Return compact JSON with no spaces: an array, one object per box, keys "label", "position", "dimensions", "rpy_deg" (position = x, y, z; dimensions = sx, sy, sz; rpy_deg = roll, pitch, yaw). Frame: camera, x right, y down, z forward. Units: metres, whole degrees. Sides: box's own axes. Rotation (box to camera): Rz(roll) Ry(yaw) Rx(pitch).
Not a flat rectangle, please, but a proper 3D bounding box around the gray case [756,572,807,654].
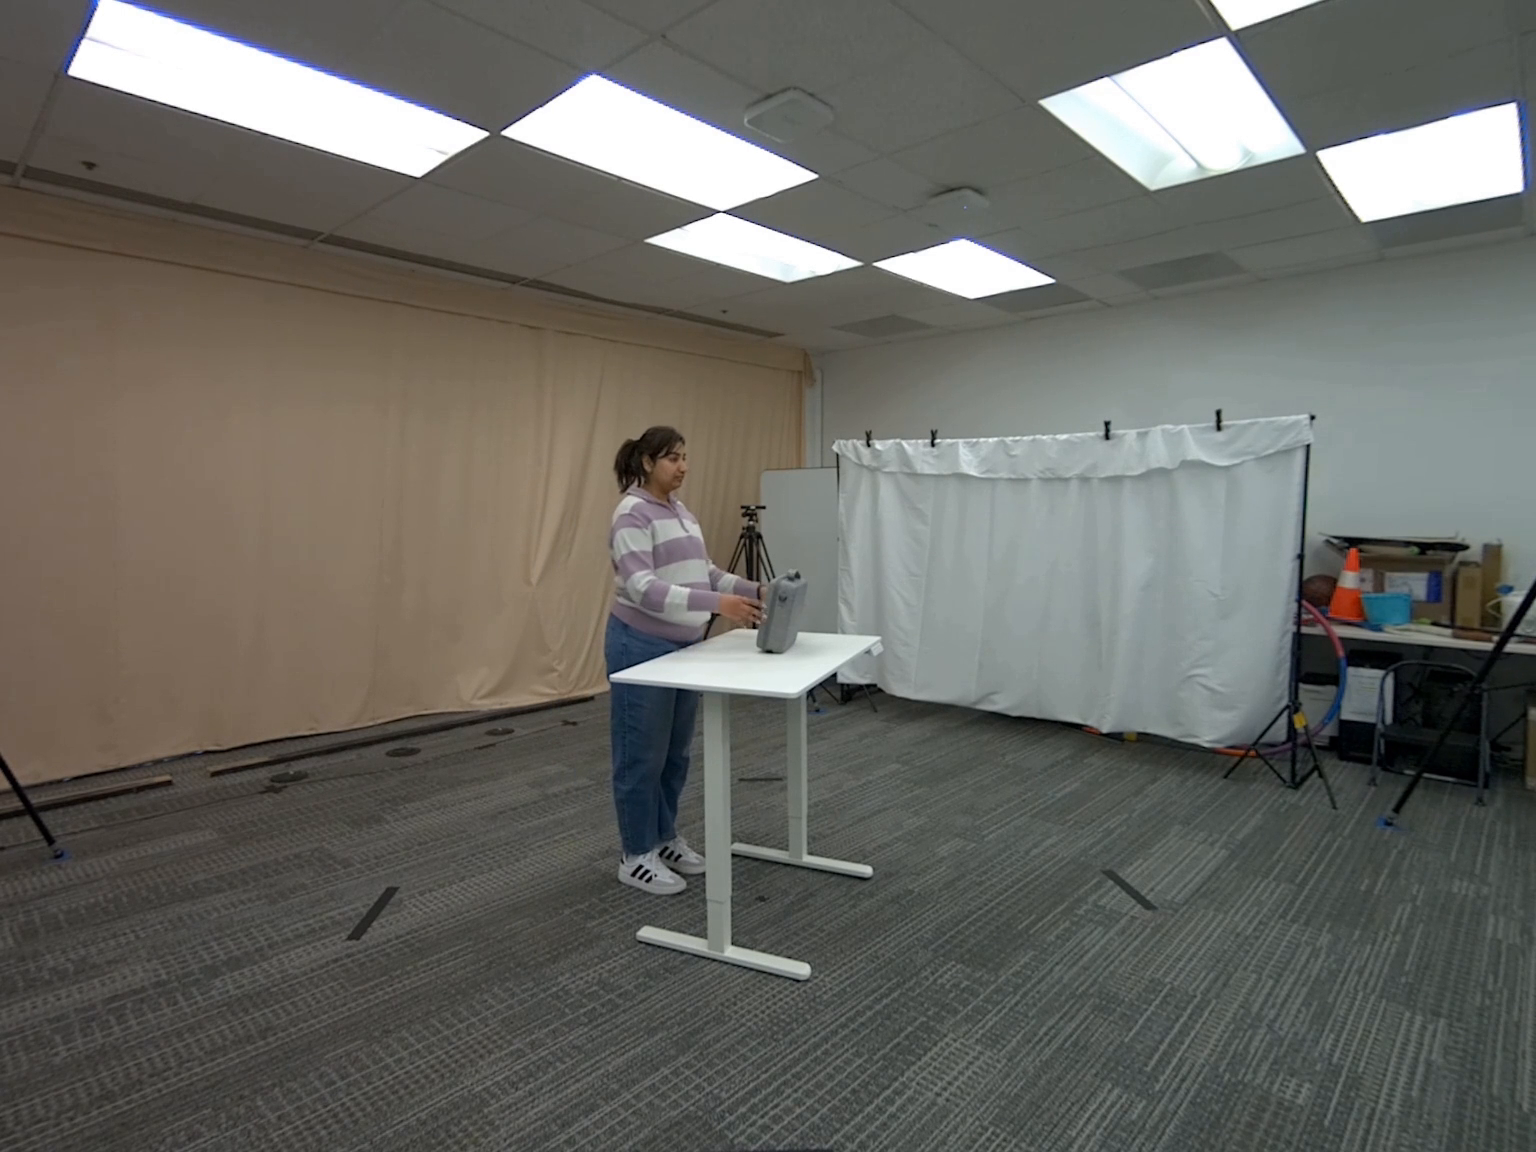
[{"label":"gray case","position":[0.058,0.132,2.975],"dimensions":[0.106,0.259,0.253],"rpy_deg":[13,9,13]}]
